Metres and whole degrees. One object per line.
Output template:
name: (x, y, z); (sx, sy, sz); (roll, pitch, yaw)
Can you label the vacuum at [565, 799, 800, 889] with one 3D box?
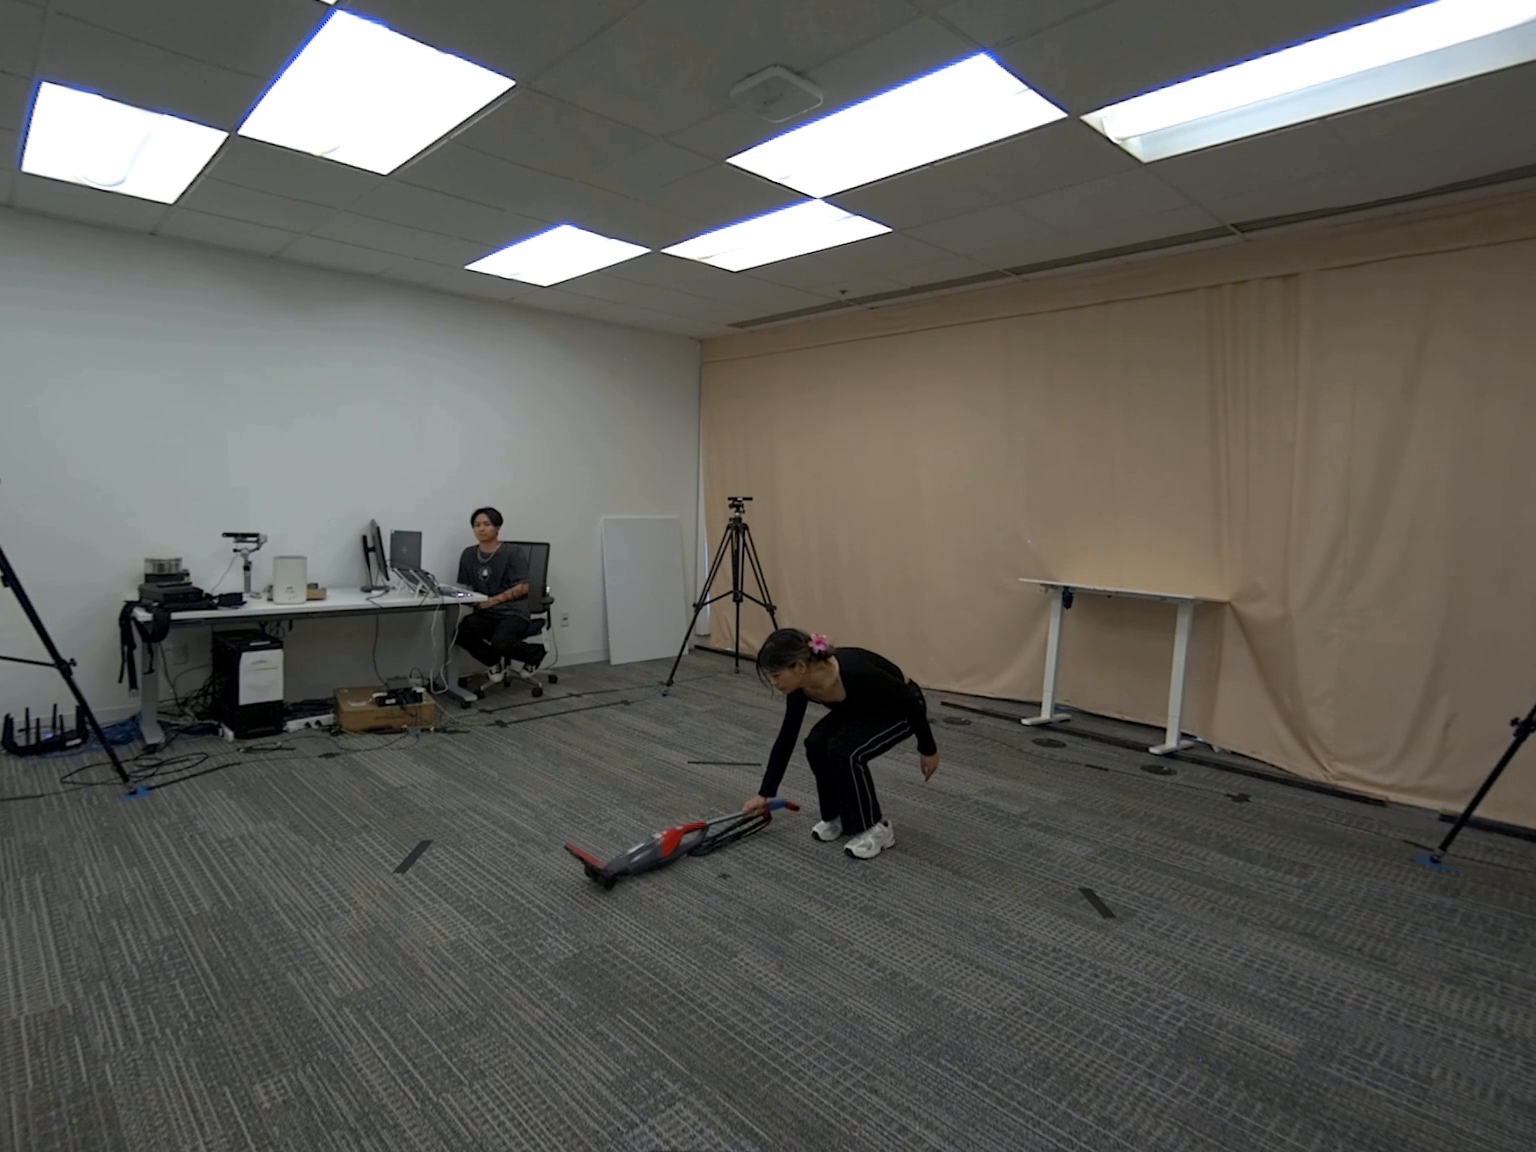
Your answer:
vacuum: (-0.264, 1.031, 3.308); (1.024, 0.144, 0.259); (0, 5, -42)
